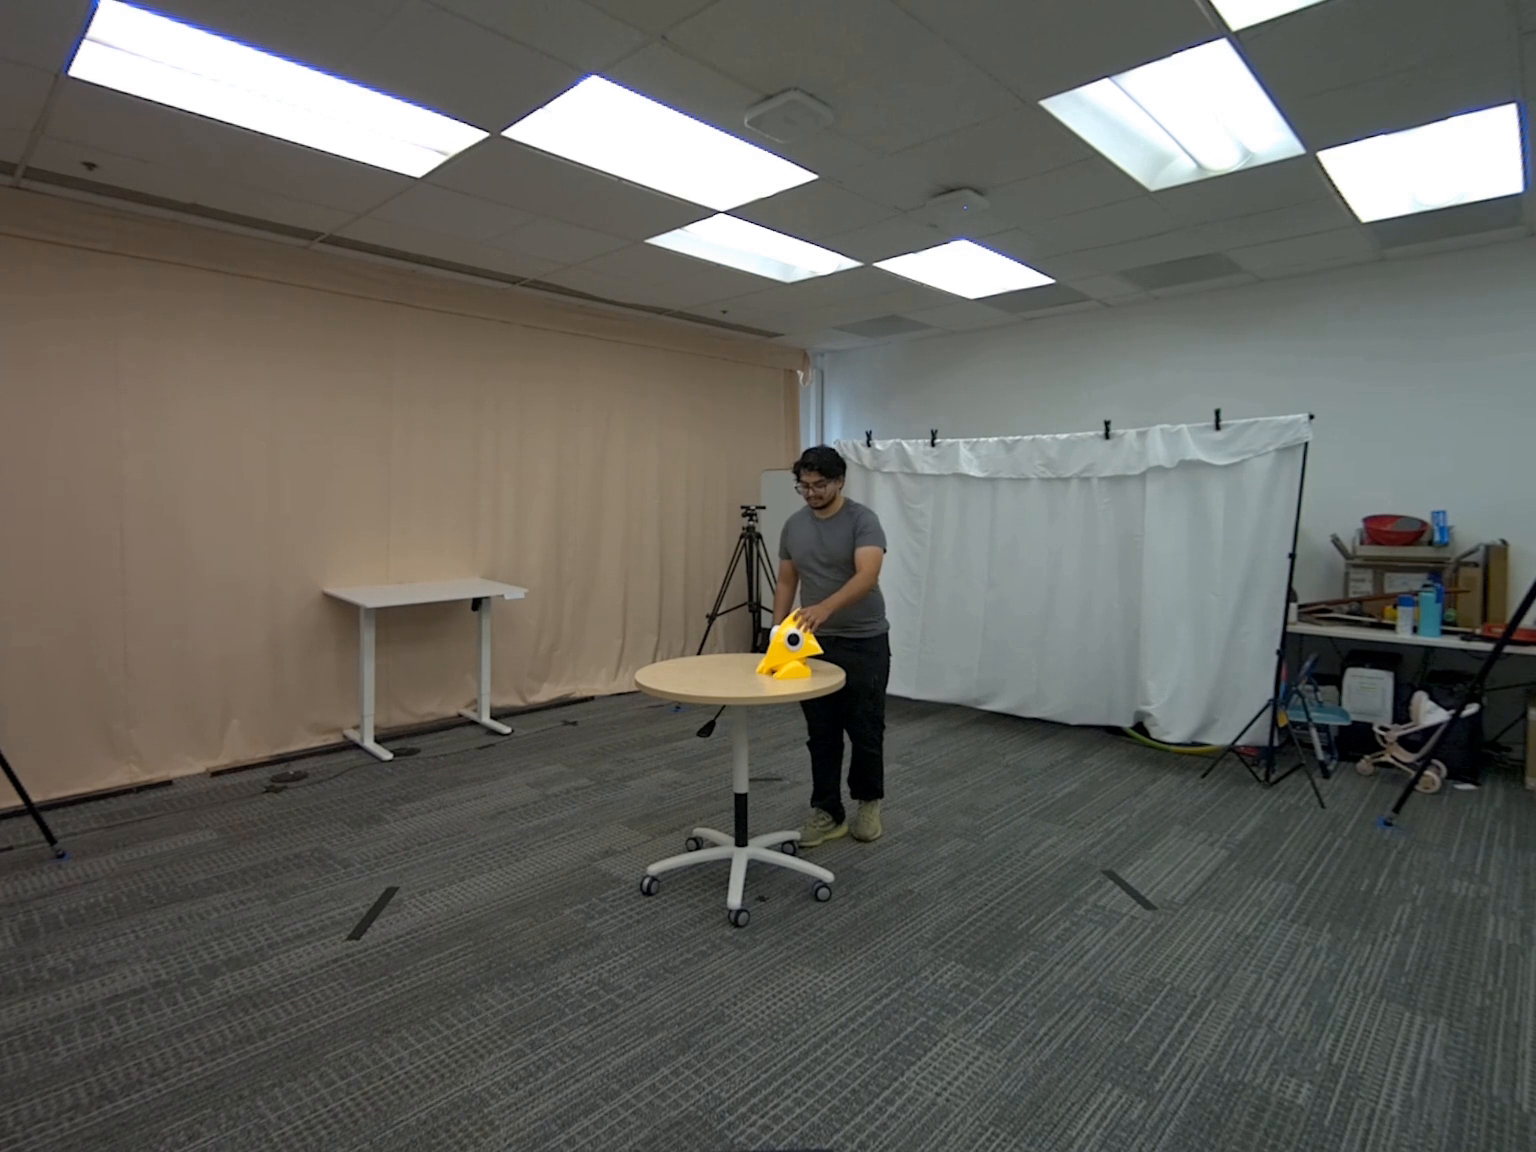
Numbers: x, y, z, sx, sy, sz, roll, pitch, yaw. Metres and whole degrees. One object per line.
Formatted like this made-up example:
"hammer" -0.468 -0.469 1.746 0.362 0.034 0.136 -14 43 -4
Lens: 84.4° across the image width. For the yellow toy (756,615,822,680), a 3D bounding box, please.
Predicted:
"yellow toy" 0.067 0.240 3.050 0.188 0.230 0.211 -2 5 -31
